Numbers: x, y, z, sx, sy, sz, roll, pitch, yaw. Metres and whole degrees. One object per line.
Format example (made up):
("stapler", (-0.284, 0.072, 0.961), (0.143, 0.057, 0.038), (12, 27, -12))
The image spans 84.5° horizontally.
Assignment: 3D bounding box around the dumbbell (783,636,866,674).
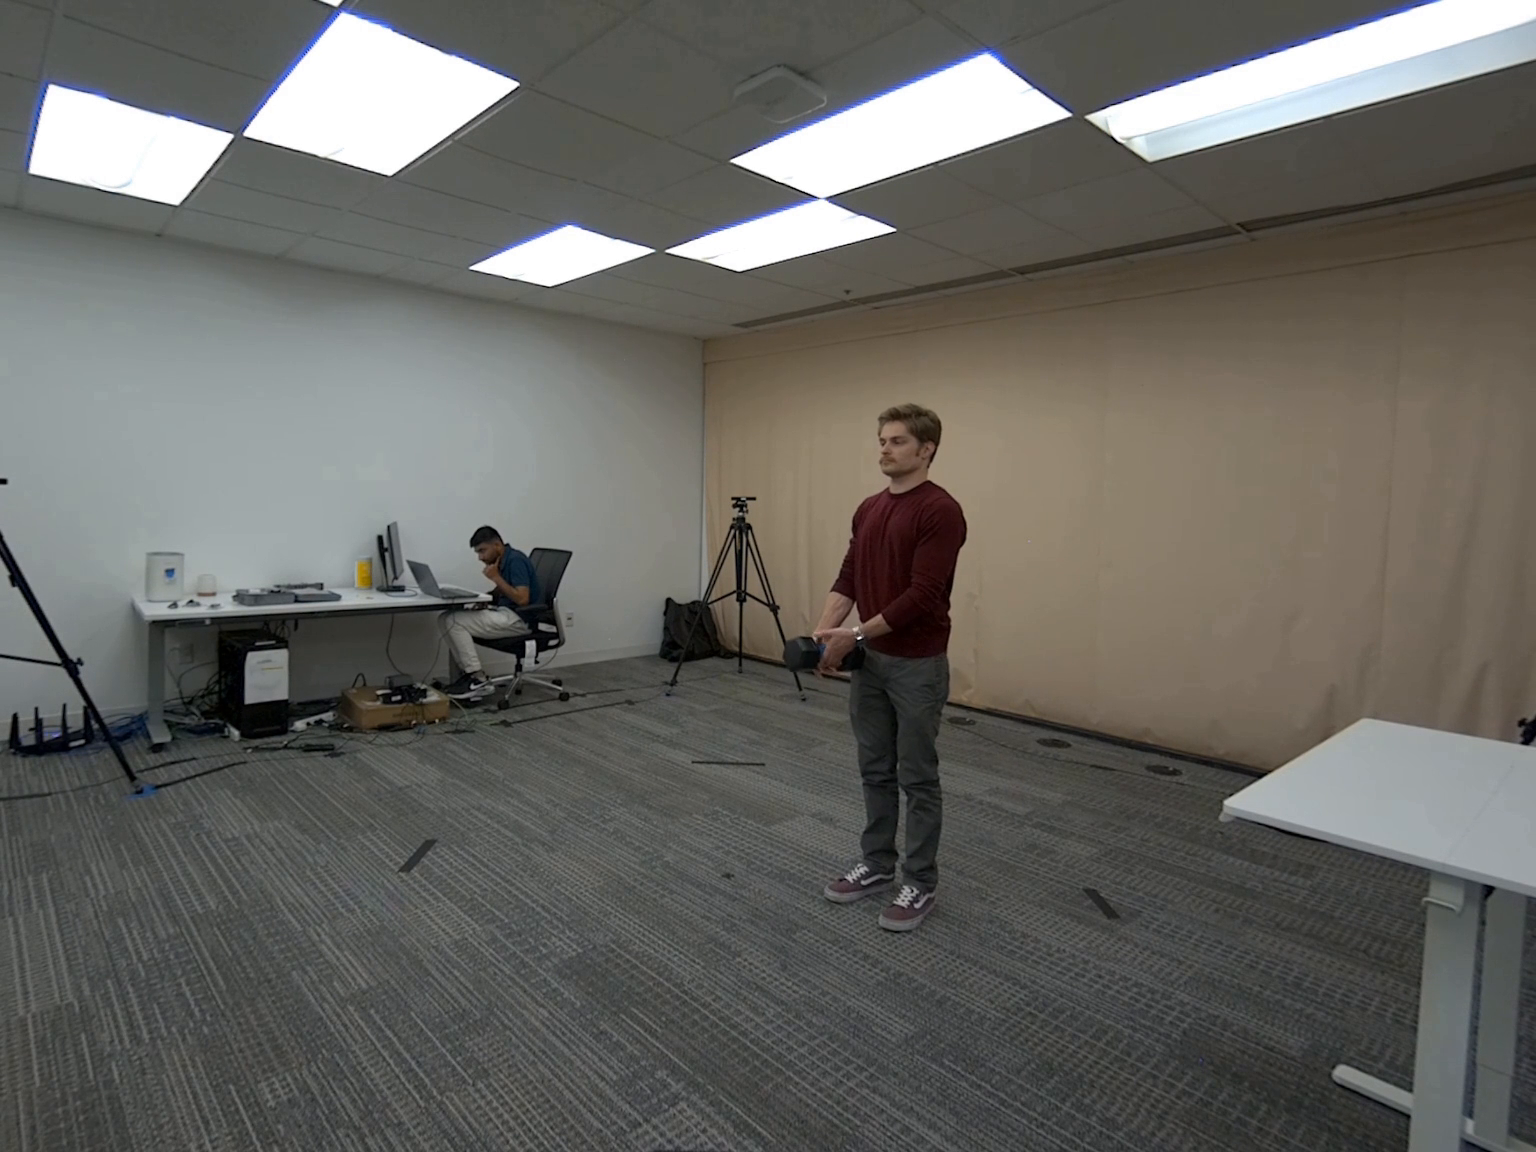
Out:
("dumbbell", (0.185, 0.268, 2.833), (0.286, 0.108, 0.126), (6, 41, -37))
